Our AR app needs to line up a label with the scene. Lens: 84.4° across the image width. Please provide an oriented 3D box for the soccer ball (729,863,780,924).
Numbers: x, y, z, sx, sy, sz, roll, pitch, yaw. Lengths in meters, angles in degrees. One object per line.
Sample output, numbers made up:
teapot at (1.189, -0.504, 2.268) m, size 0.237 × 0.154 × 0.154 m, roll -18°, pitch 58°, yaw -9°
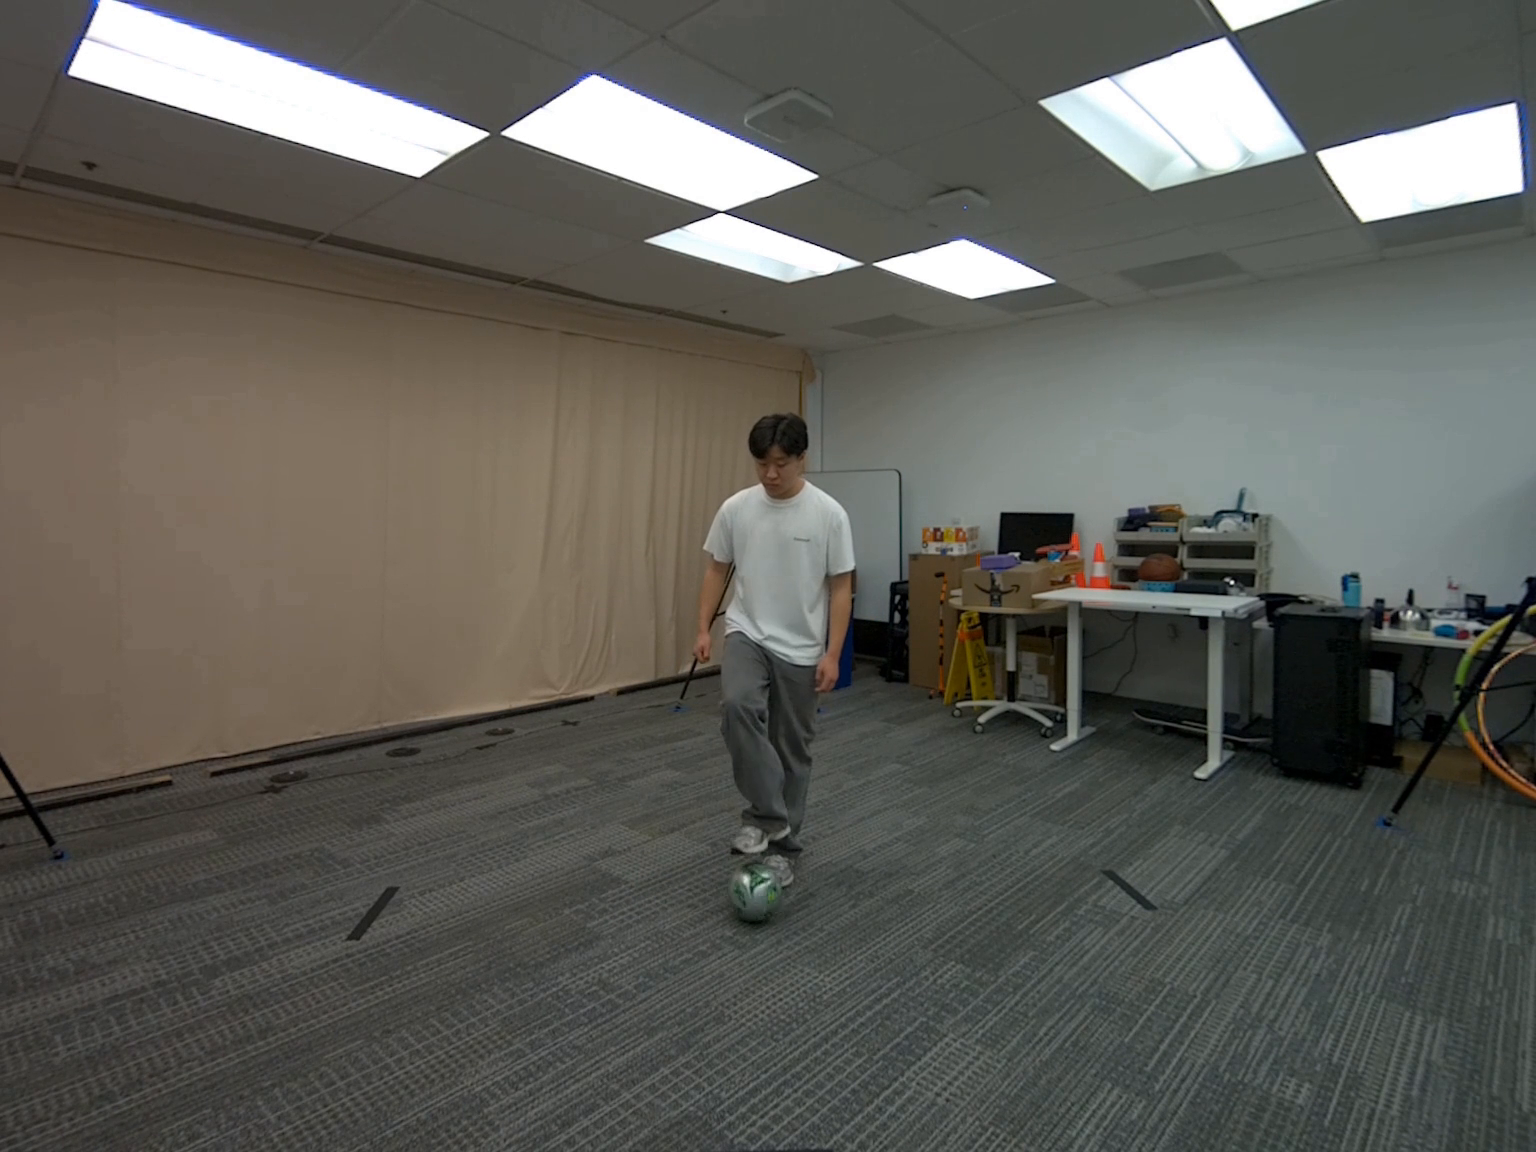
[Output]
soccer ball at (-0.065, 1.059, 2.839) m, size 0.187 × 0.187 × 0.188 m, roll 0°, pitch 4°, yaw -2°
